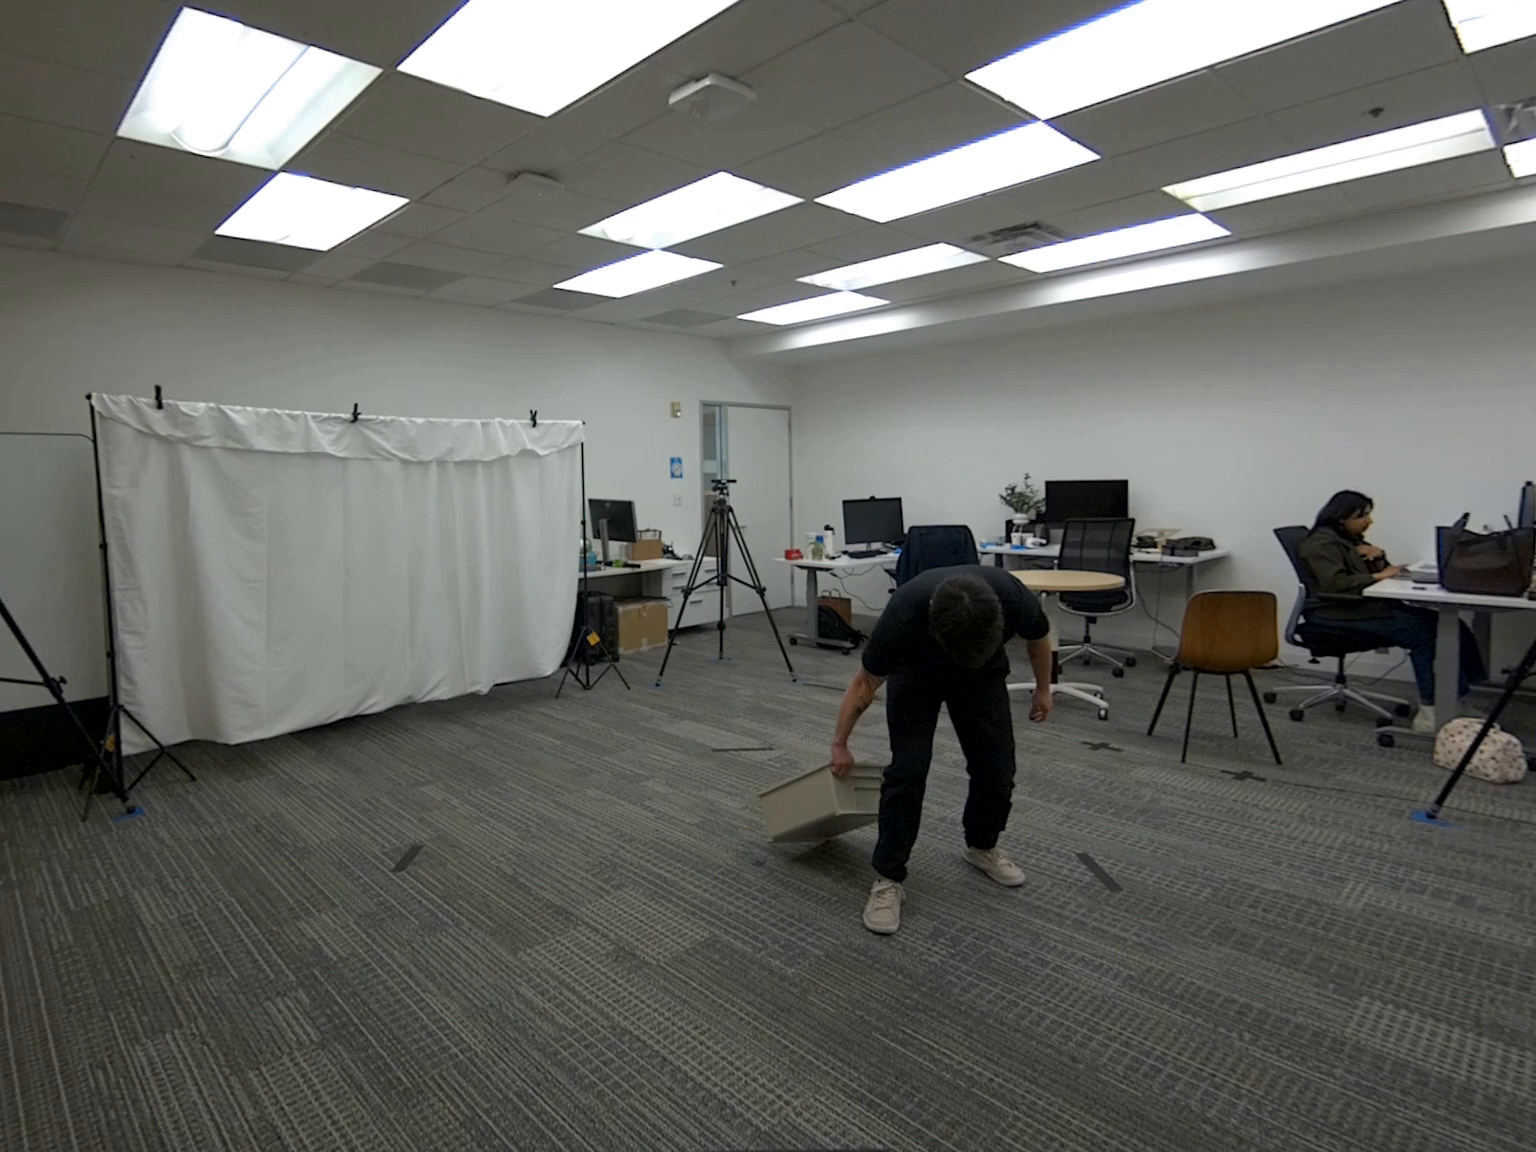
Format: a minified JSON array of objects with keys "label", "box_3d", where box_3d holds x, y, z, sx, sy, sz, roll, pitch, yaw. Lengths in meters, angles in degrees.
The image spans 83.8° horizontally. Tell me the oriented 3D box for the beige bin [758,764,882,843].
[{"label":"beige bin","box_3d":[0.244,0.834,3.131,0.365,0.194,0.425,11,-33,-38]}]
